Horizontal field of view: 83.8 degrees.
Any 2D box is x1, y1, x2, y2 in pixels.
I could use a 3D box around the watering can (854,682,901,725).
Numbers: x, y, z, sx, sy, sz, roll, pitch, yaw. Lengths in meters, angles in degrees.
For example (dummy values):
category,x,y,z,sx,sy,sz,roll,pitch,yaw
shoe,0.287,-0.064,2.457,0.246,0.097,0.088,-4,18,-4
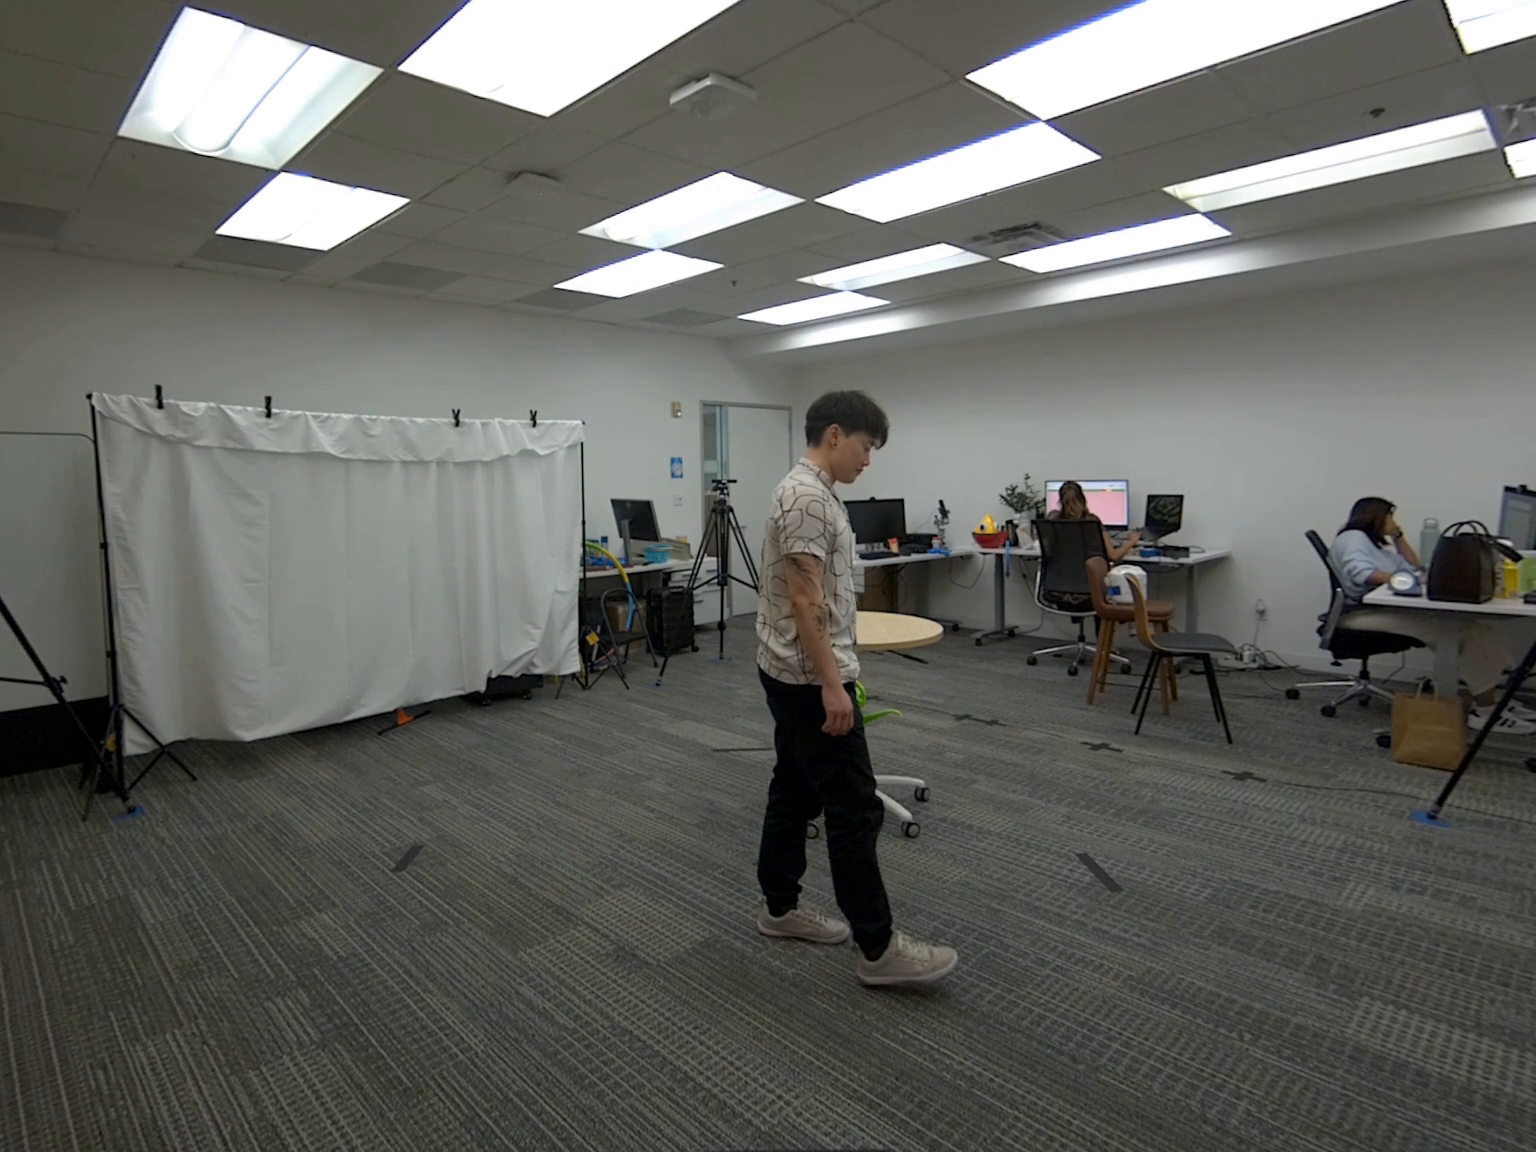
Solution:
category,x,y,z,sx,sy,sz,roll,pitch,yaw
watering can,0.299,0.438,2.790,0.095,0.175,0.289,6,27,-45
